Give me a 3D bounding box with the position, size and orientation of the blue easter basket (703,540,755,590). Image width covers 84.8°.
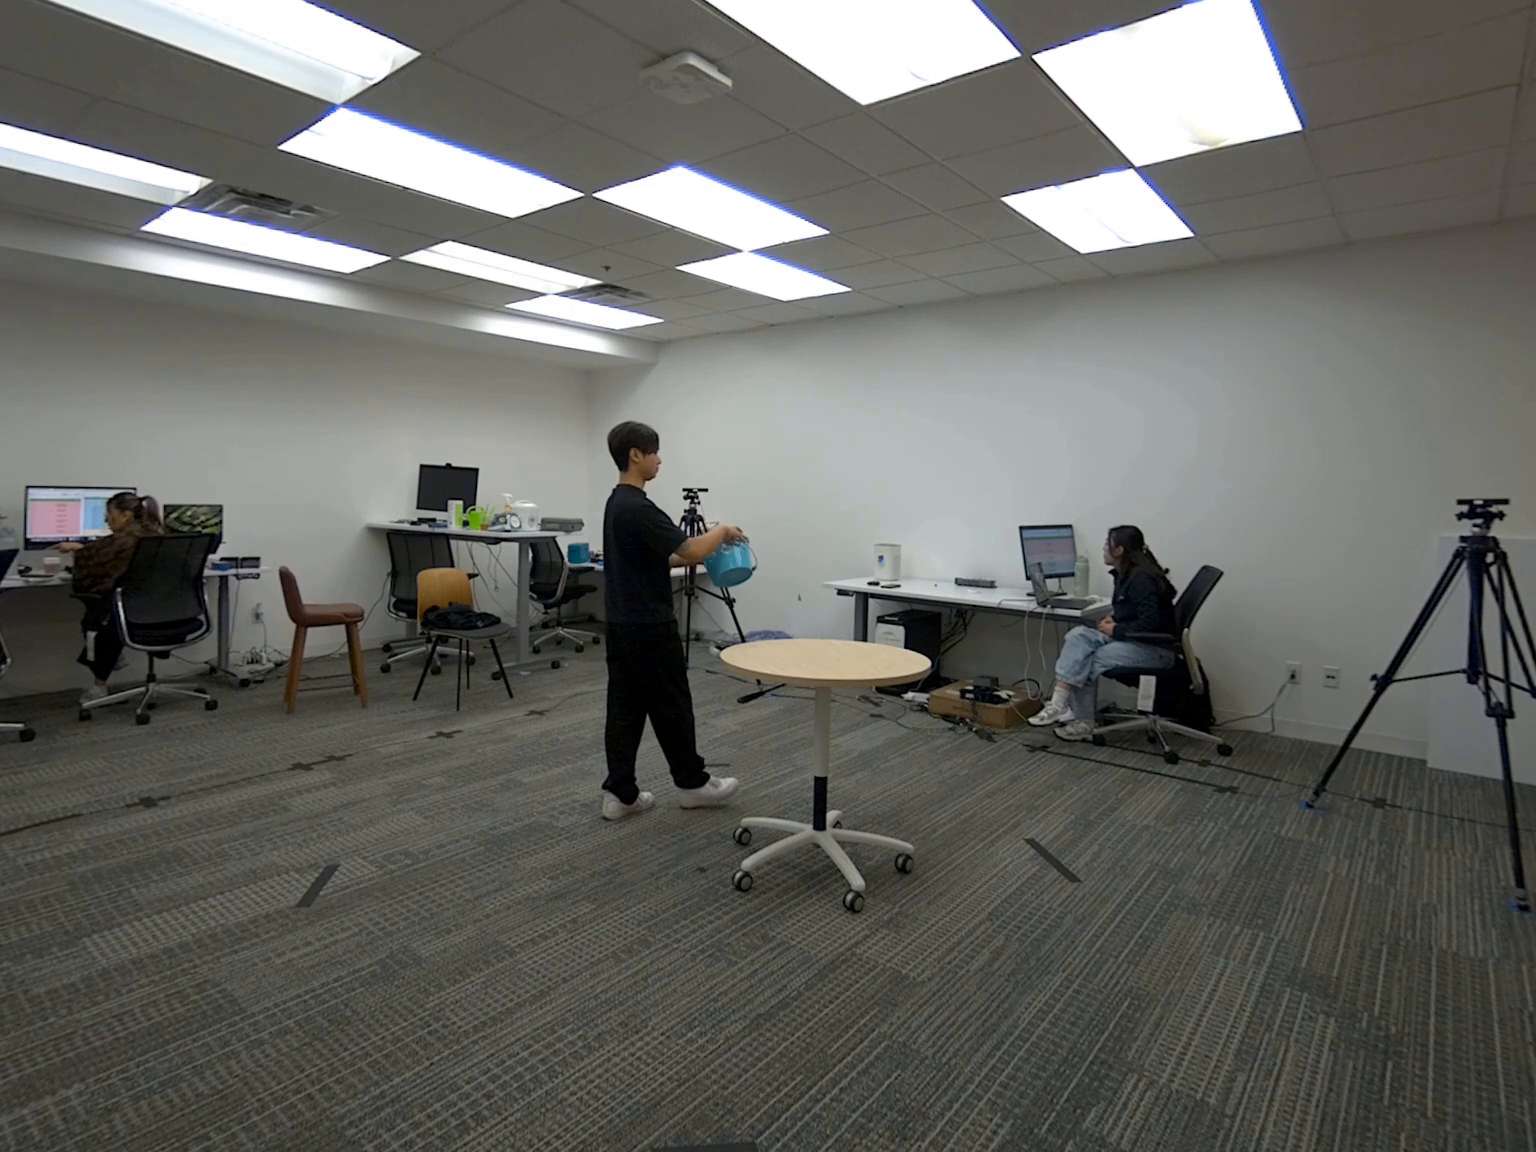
[{"bbox_3d":[-0.185,-0.064,3.735,0.242,0.160,0.238,-12,-27,-8],"label":"blue easter basket"}]
